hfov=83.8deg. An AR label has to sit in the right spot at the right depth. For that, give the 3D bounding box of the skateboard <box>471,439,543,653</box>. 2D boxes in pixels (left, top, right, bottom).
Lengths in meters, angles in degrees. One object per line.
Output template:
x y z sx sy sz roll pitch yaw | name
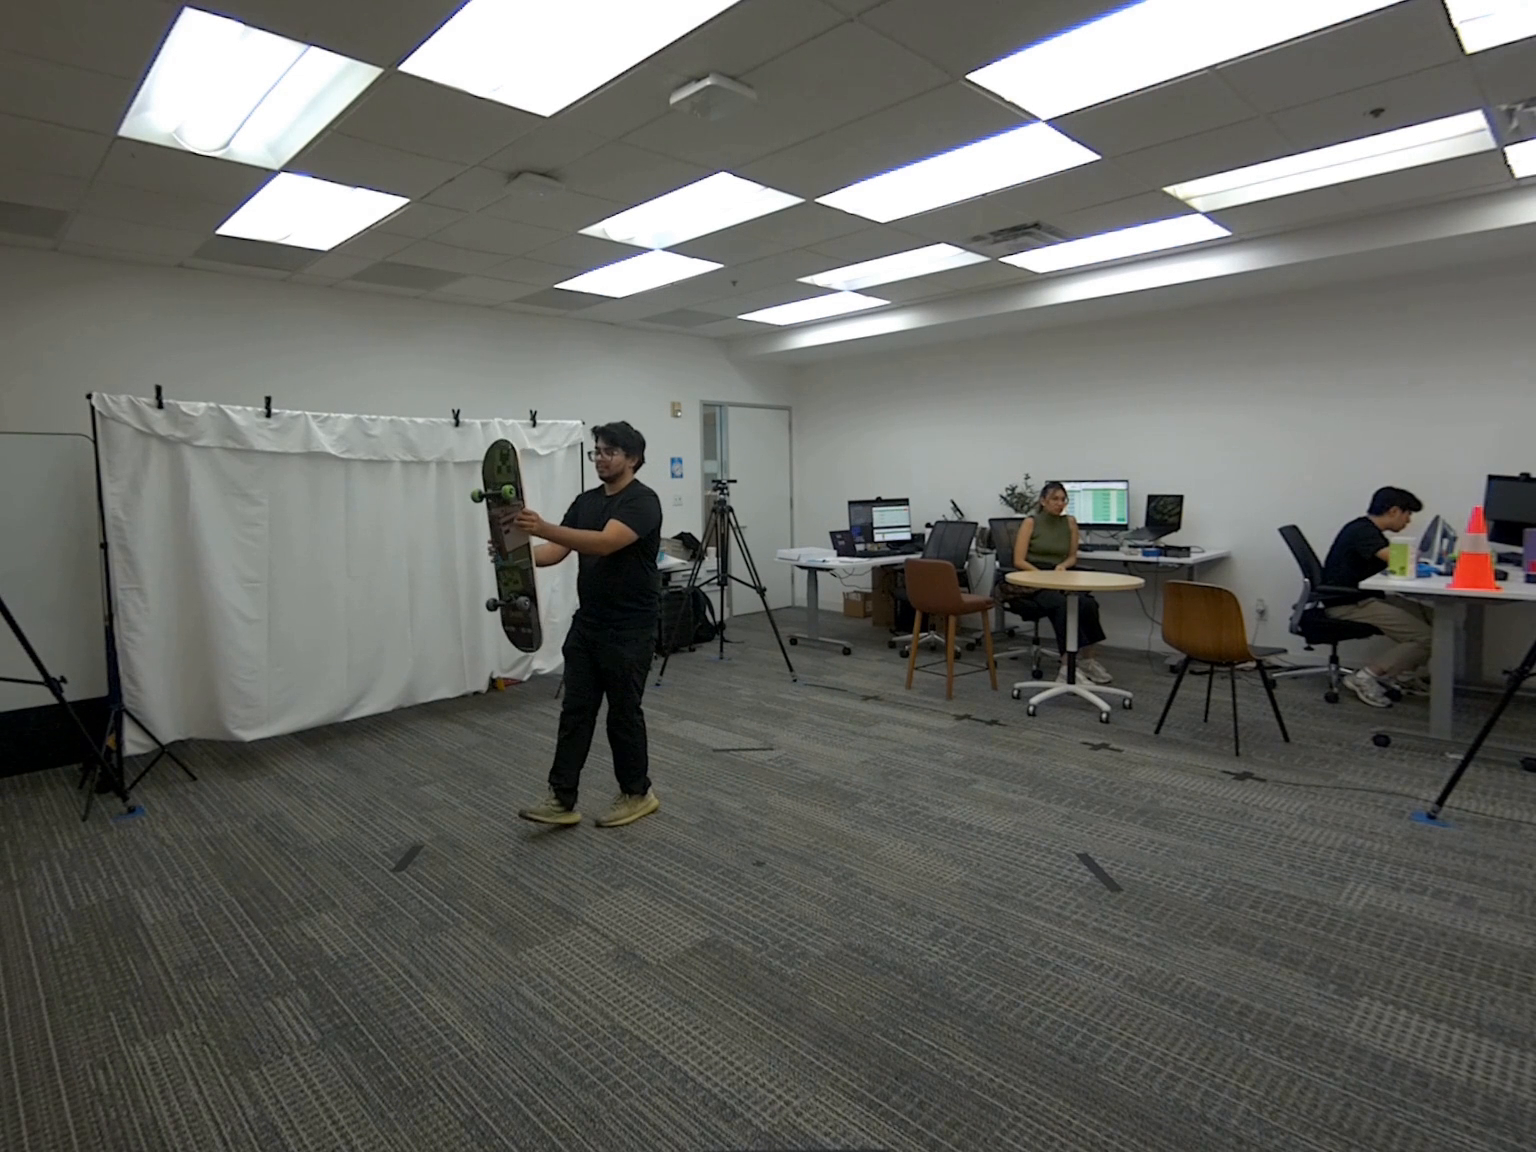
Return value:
-0.949 -0.090 3.084 0.198 0.782 0.108 -6 4 32 | skateboard
